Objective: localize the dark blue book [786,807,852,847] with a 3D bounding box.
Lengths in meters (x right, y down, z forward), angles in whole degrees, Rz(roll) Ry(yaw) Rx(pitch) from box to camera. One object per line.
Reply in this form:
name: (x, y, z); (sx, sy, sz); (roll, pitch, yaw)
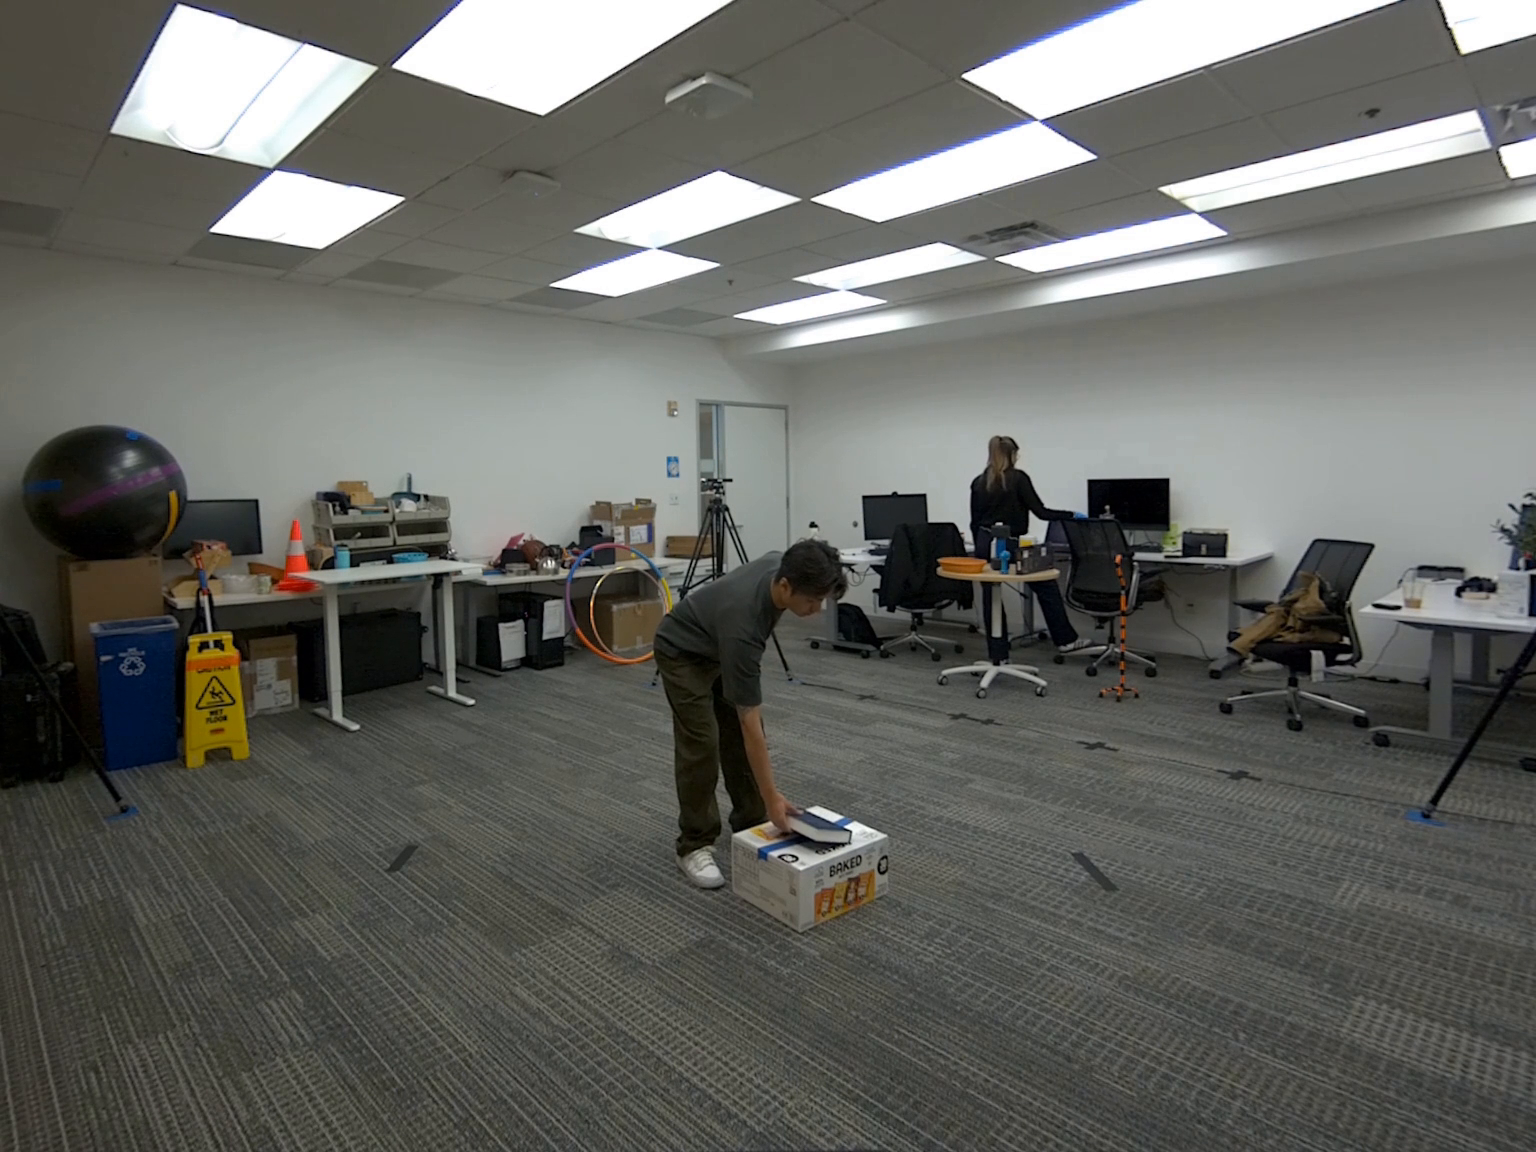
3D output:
dark blue book: (0.145, 0.831, 2.858); (0.158, 0.045, 0.252); (16, -6, -36)
